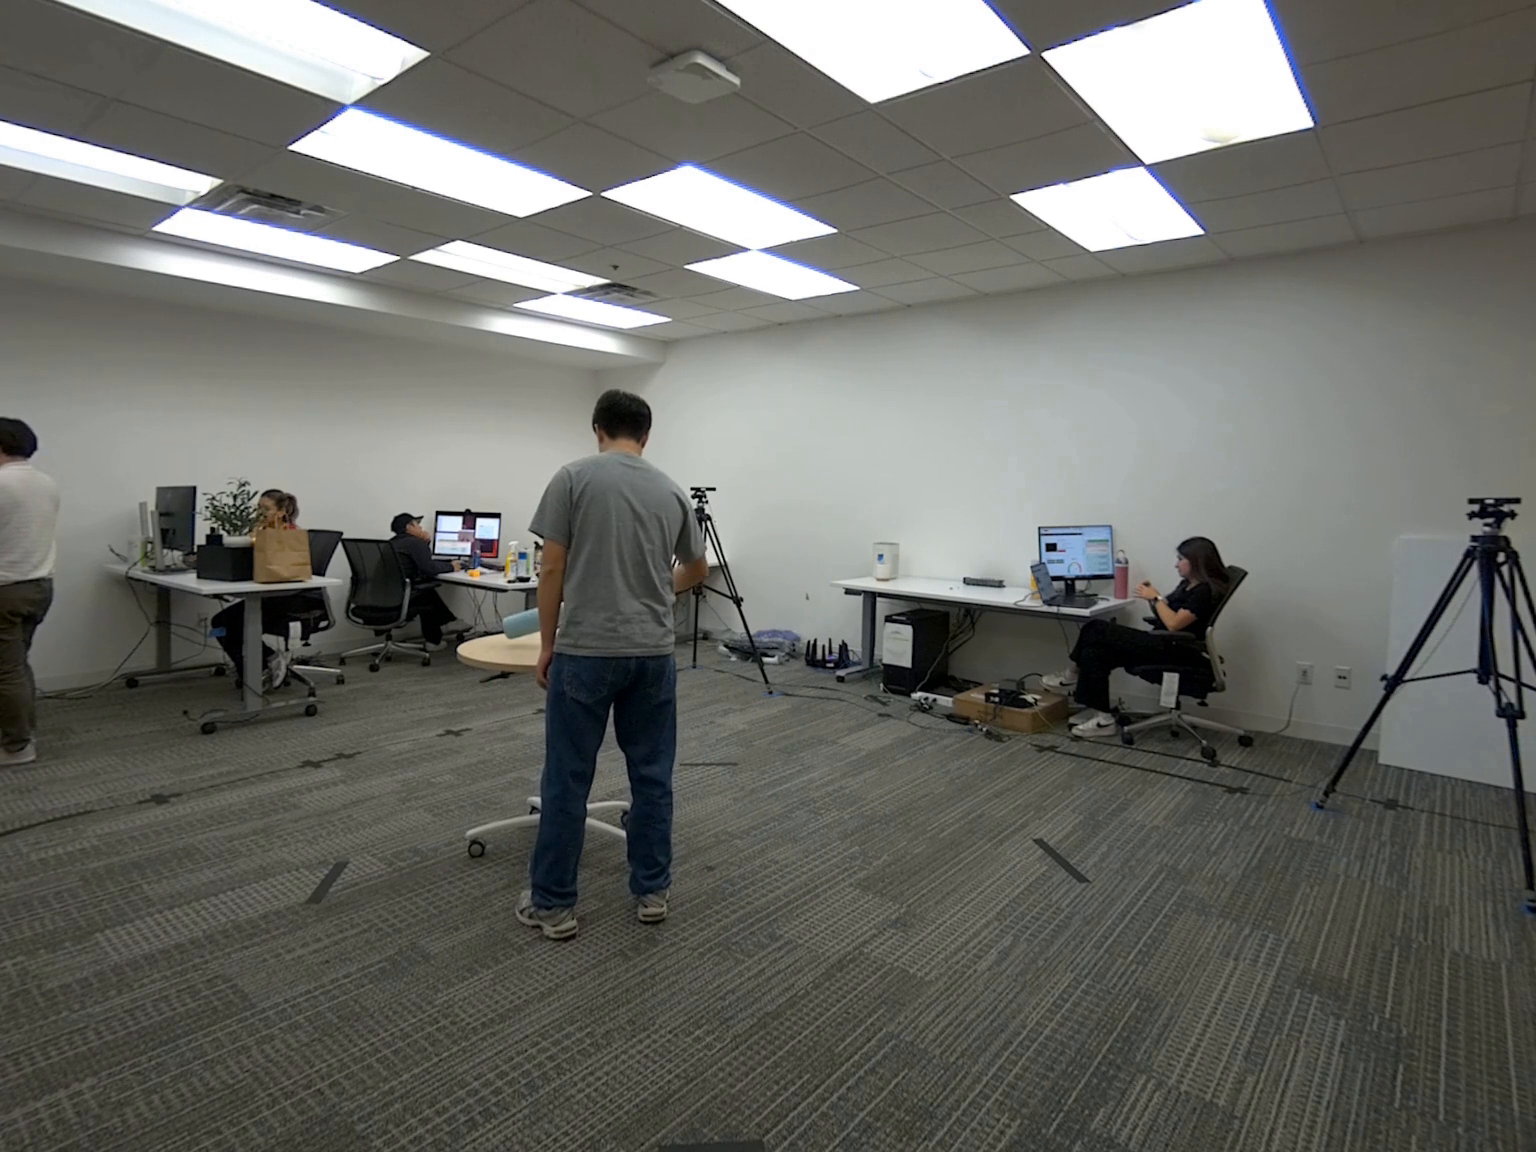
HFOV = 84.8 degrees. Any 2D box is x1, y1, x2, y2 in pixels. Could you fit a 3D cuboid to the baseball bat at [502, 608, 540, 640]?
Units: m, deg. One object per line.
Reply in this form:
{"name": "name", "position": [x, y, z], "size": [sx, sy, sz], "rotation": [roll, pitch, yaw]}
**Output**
{"name": "baseball bat", "position": [-0.722, 0.120, 3.195], "size": [0.544, 0.089, 0.089], "rotation": [-17, 4, 3]}
